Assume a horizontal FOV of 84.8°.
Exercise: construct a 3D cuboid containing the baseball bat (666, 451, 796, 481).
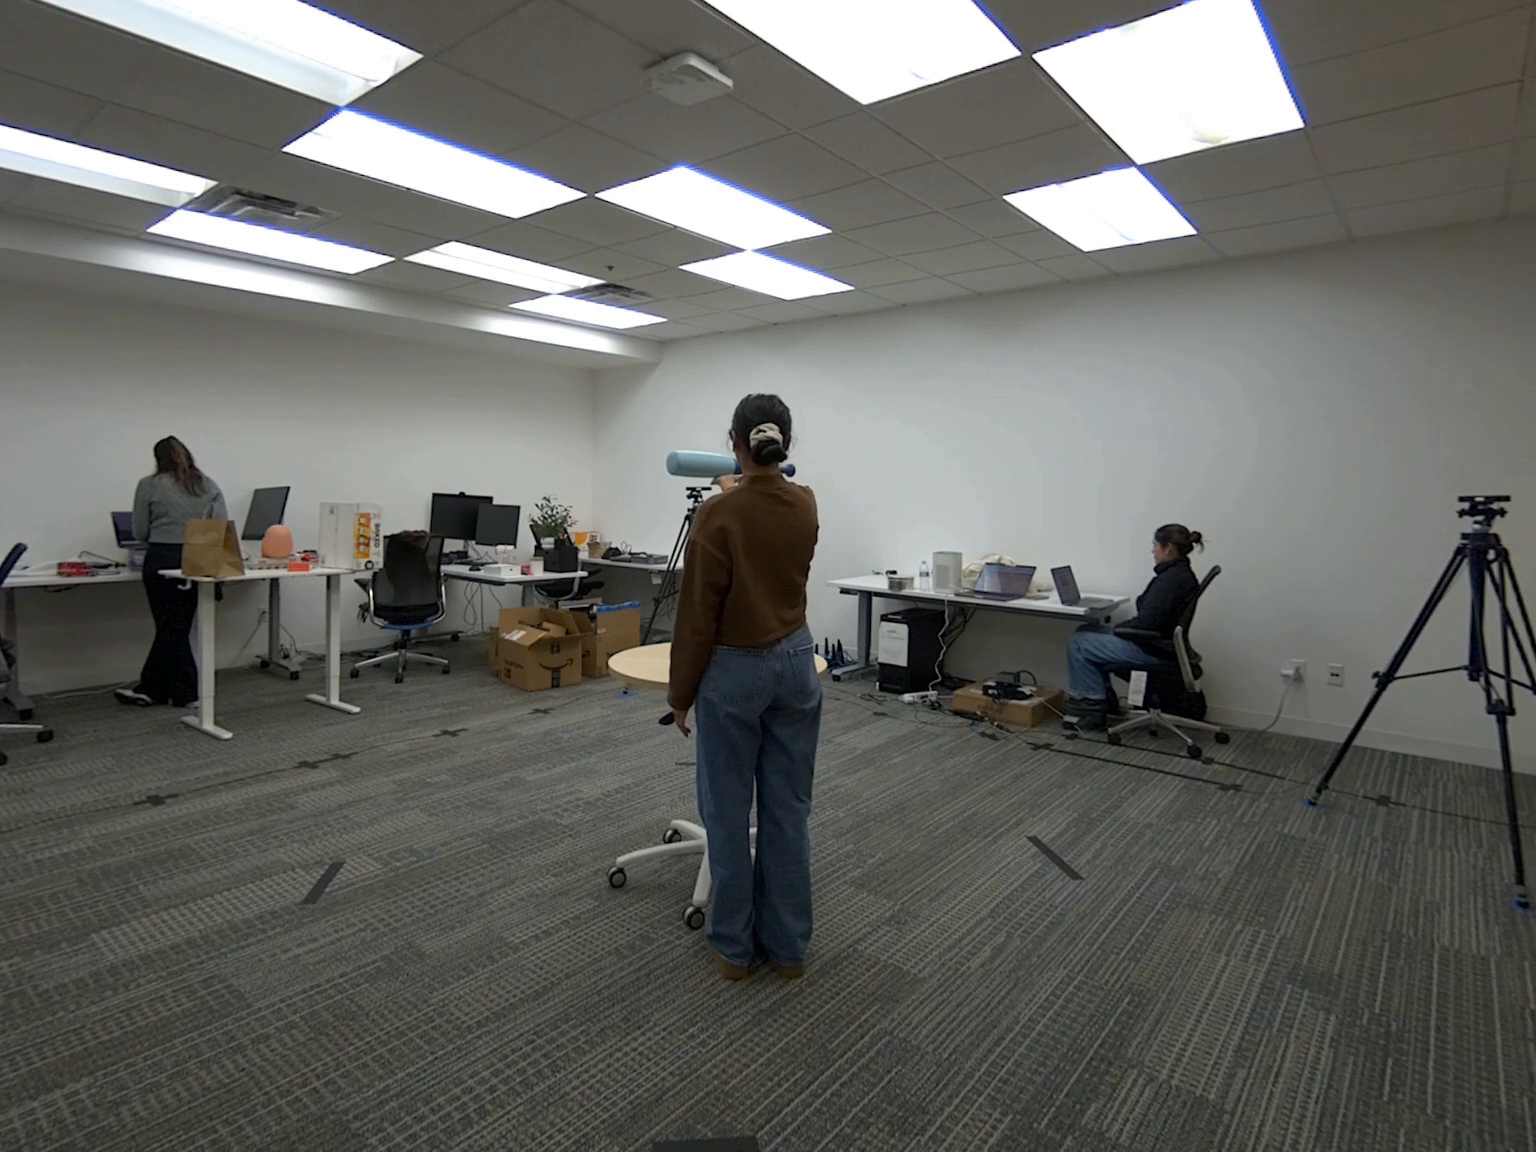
[{"bbox_3d":[-0.129,-0.390,3.036,0.527,0.089,0.092,-1,5,-36],"label":"baseball bat"}]
